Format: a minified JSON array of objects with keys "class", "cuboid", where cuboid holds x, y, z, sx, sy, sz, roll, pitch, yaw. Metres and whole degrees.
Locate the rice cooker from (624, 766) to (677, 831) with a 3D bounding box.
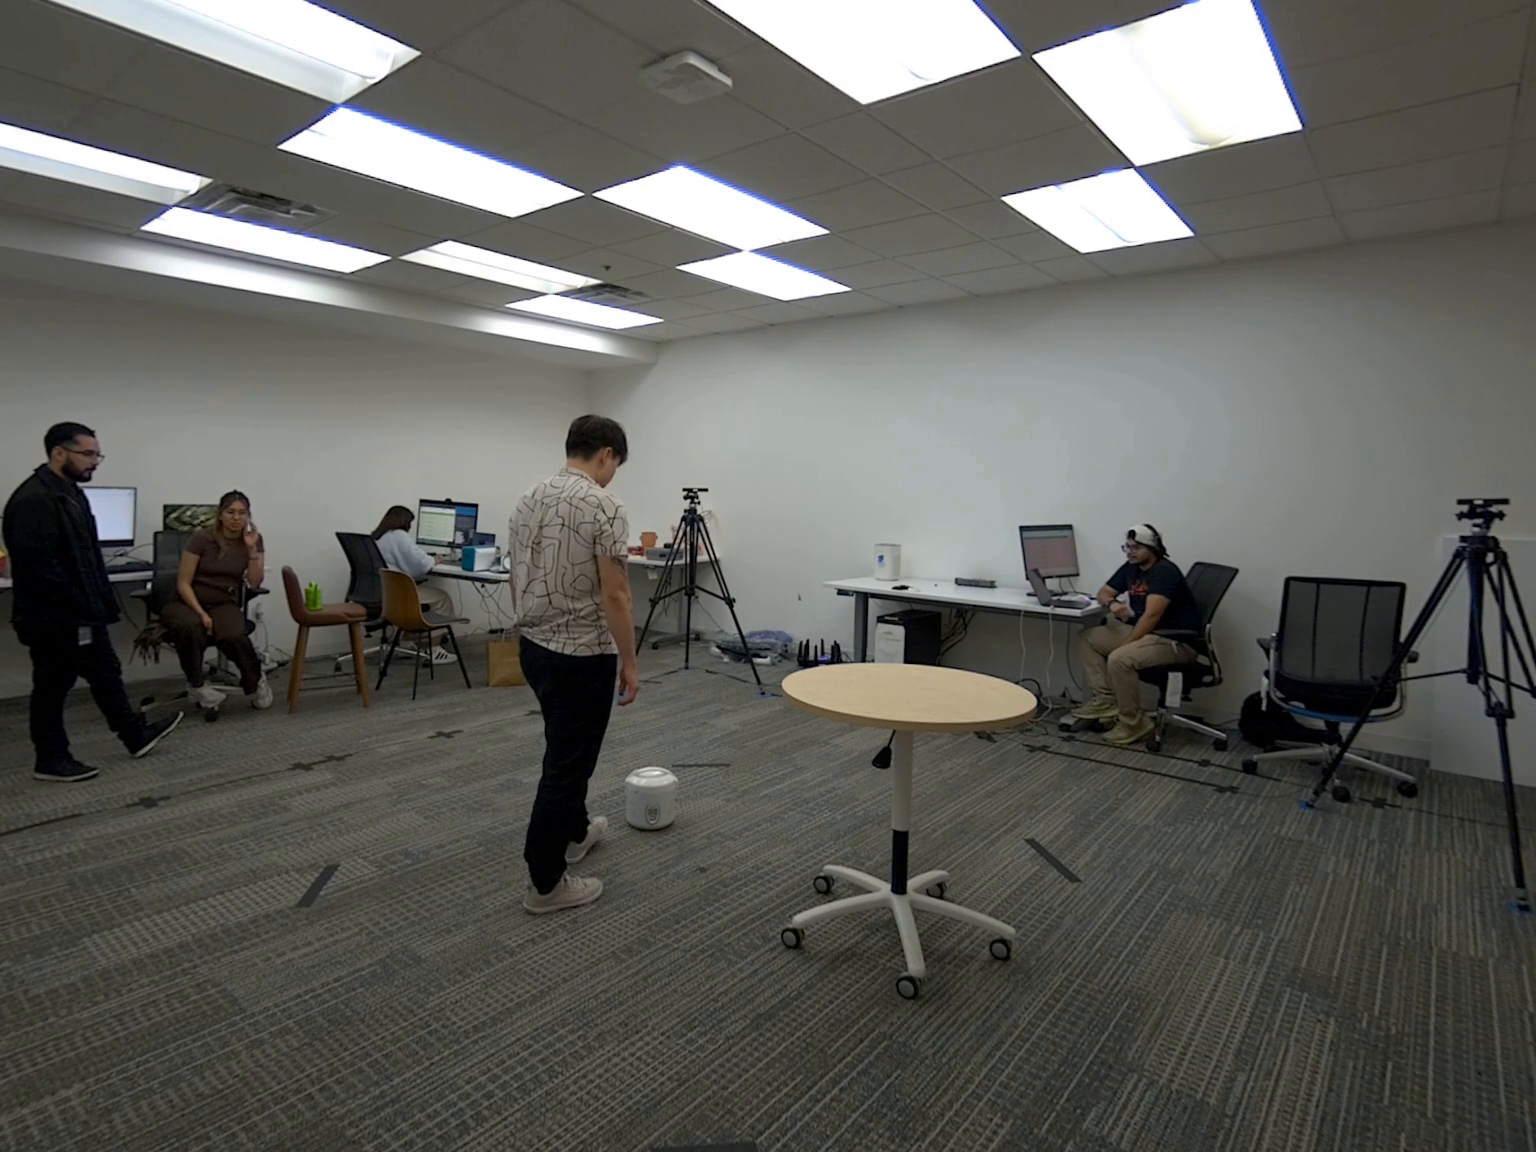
[{"class":"rice cooker","cuboid":[-0.494,0.906,3.530,0.218,0.232,0.220,0,4,-10]}]
